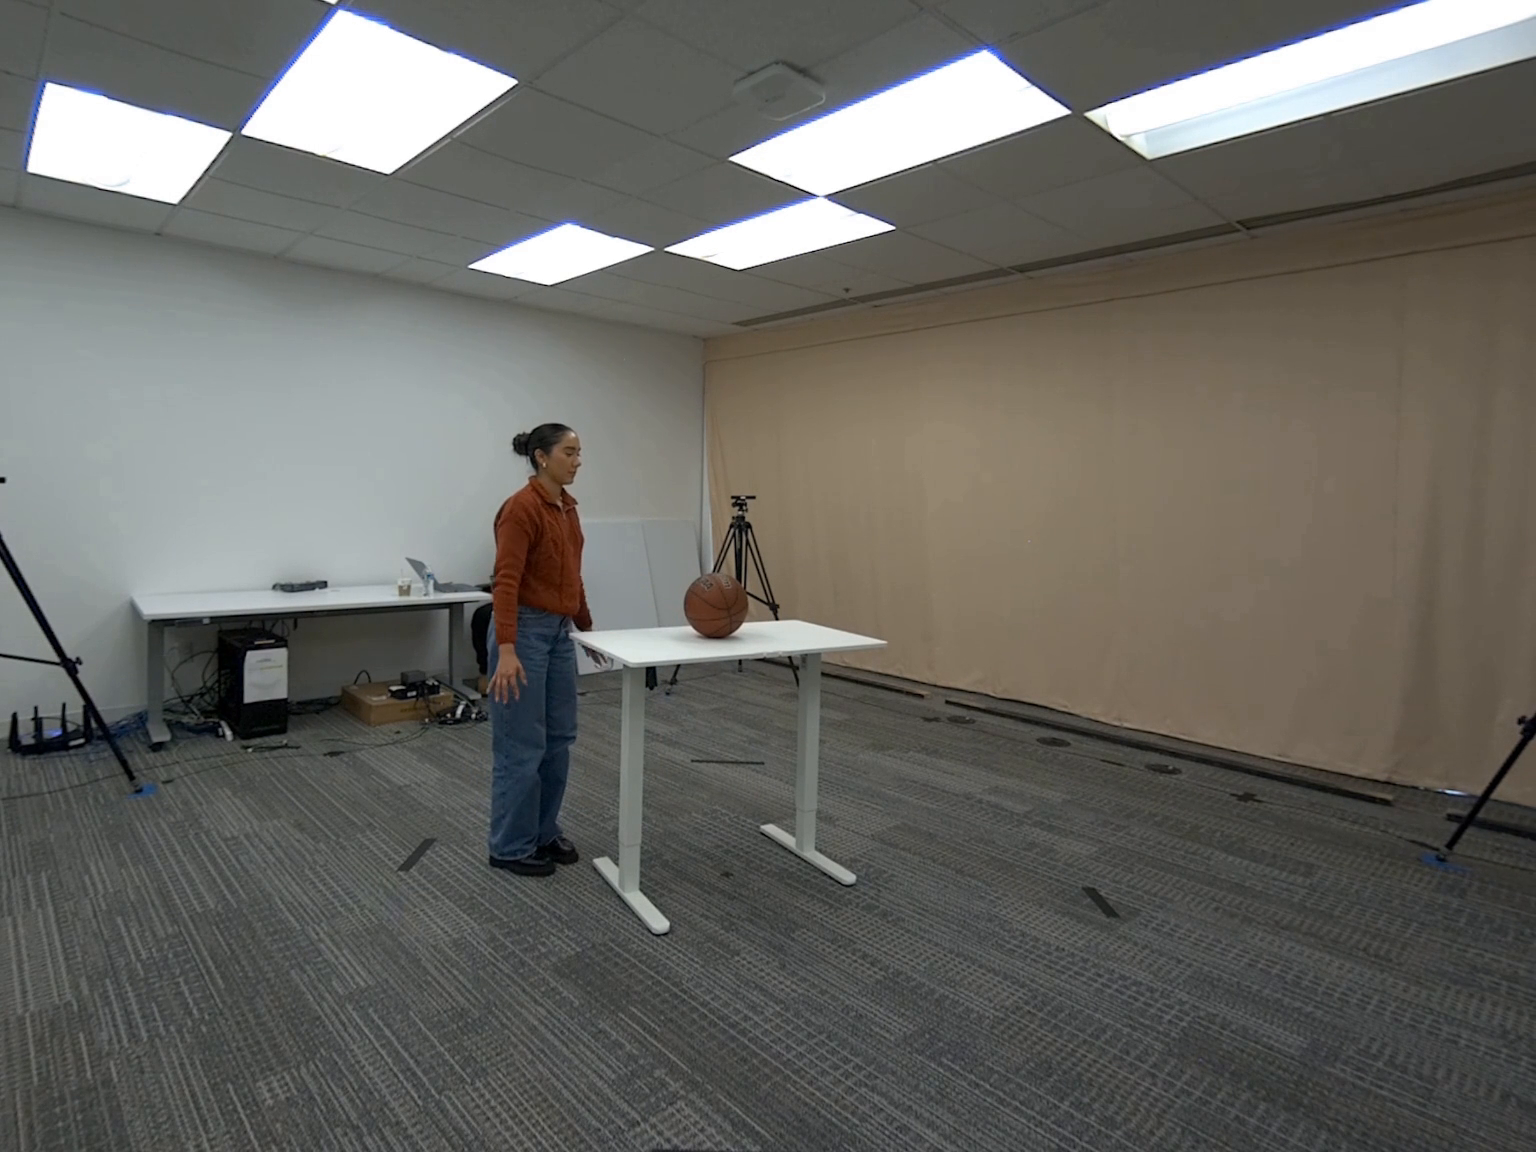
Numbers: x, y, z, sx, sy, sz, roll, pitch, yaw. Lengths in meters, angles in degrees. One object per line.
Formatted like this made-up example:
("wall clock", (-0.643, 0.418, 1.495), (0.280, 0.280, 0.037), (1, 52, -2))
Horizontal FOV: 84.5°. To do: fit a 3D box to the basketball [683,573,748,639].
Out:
("basketball", (-0.203, 0.107, 3.059), (0.236, 0.235, 0.237), (1, 4, -1))
